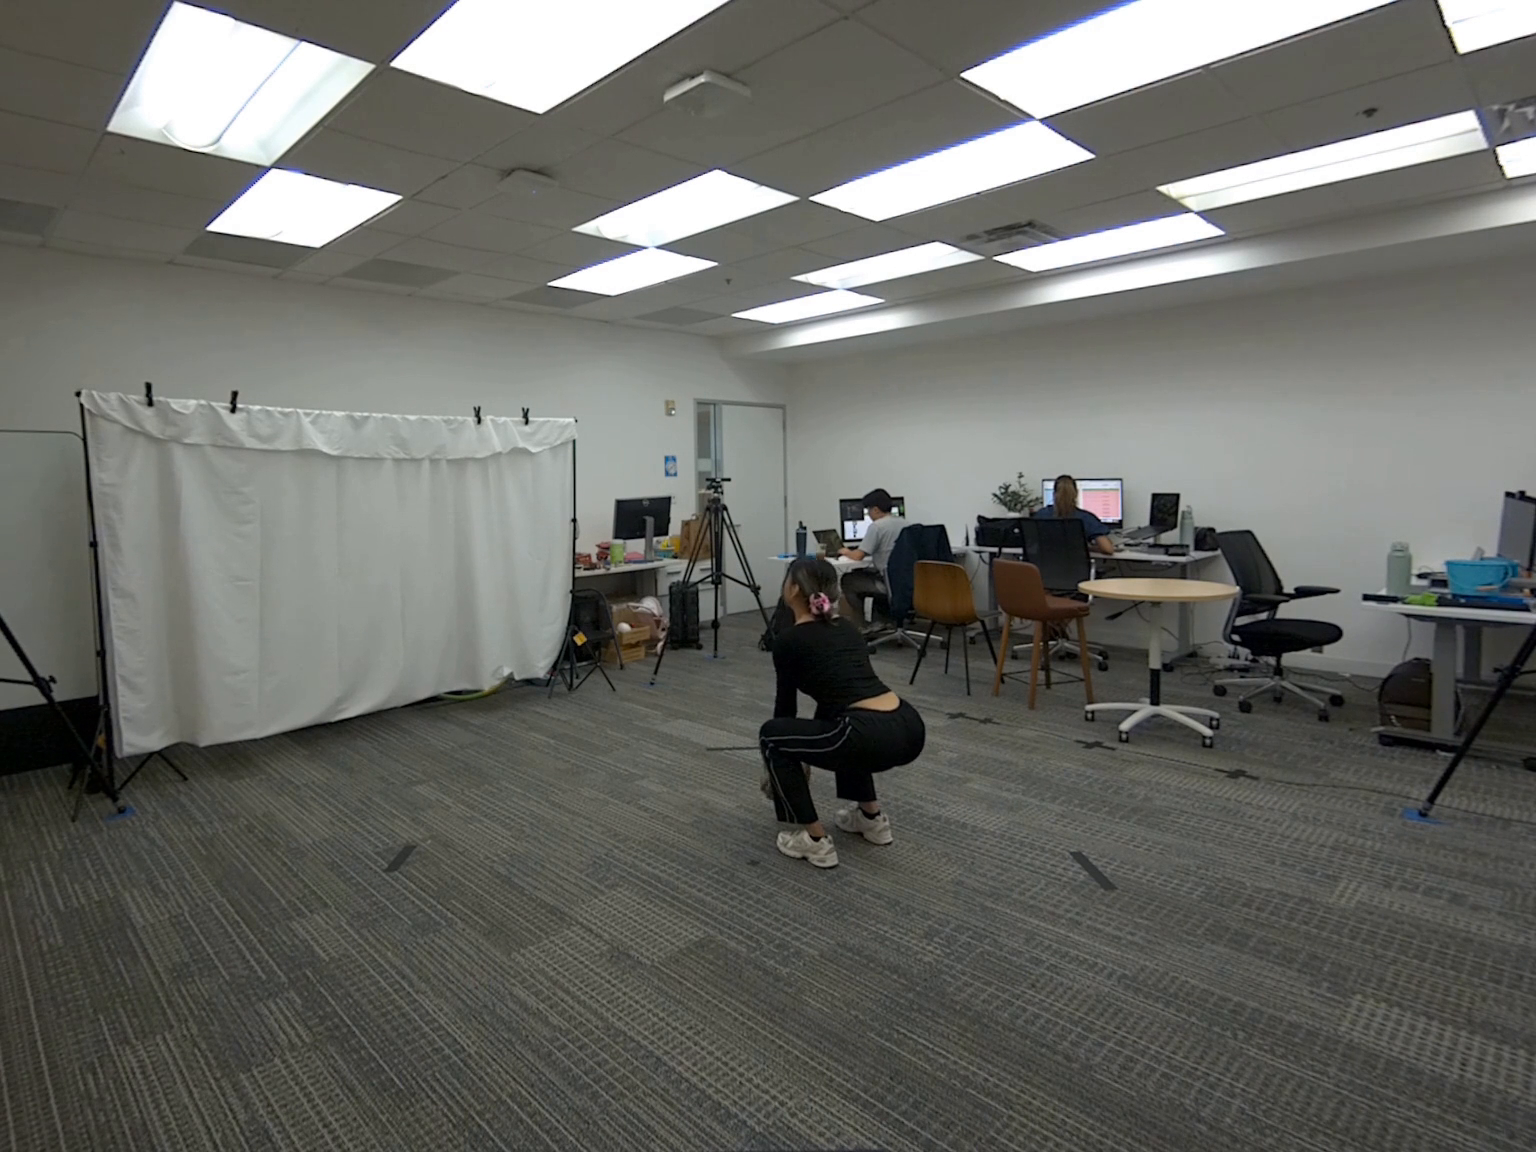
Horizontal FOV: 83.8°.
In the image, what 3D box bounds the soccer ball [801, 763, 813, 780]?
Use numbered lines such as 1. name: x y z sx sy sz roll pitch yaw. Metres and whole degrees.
1. soccer ball: 0.088 0.808 3.447 0.187 0.187 0.188 -1 5 -2
